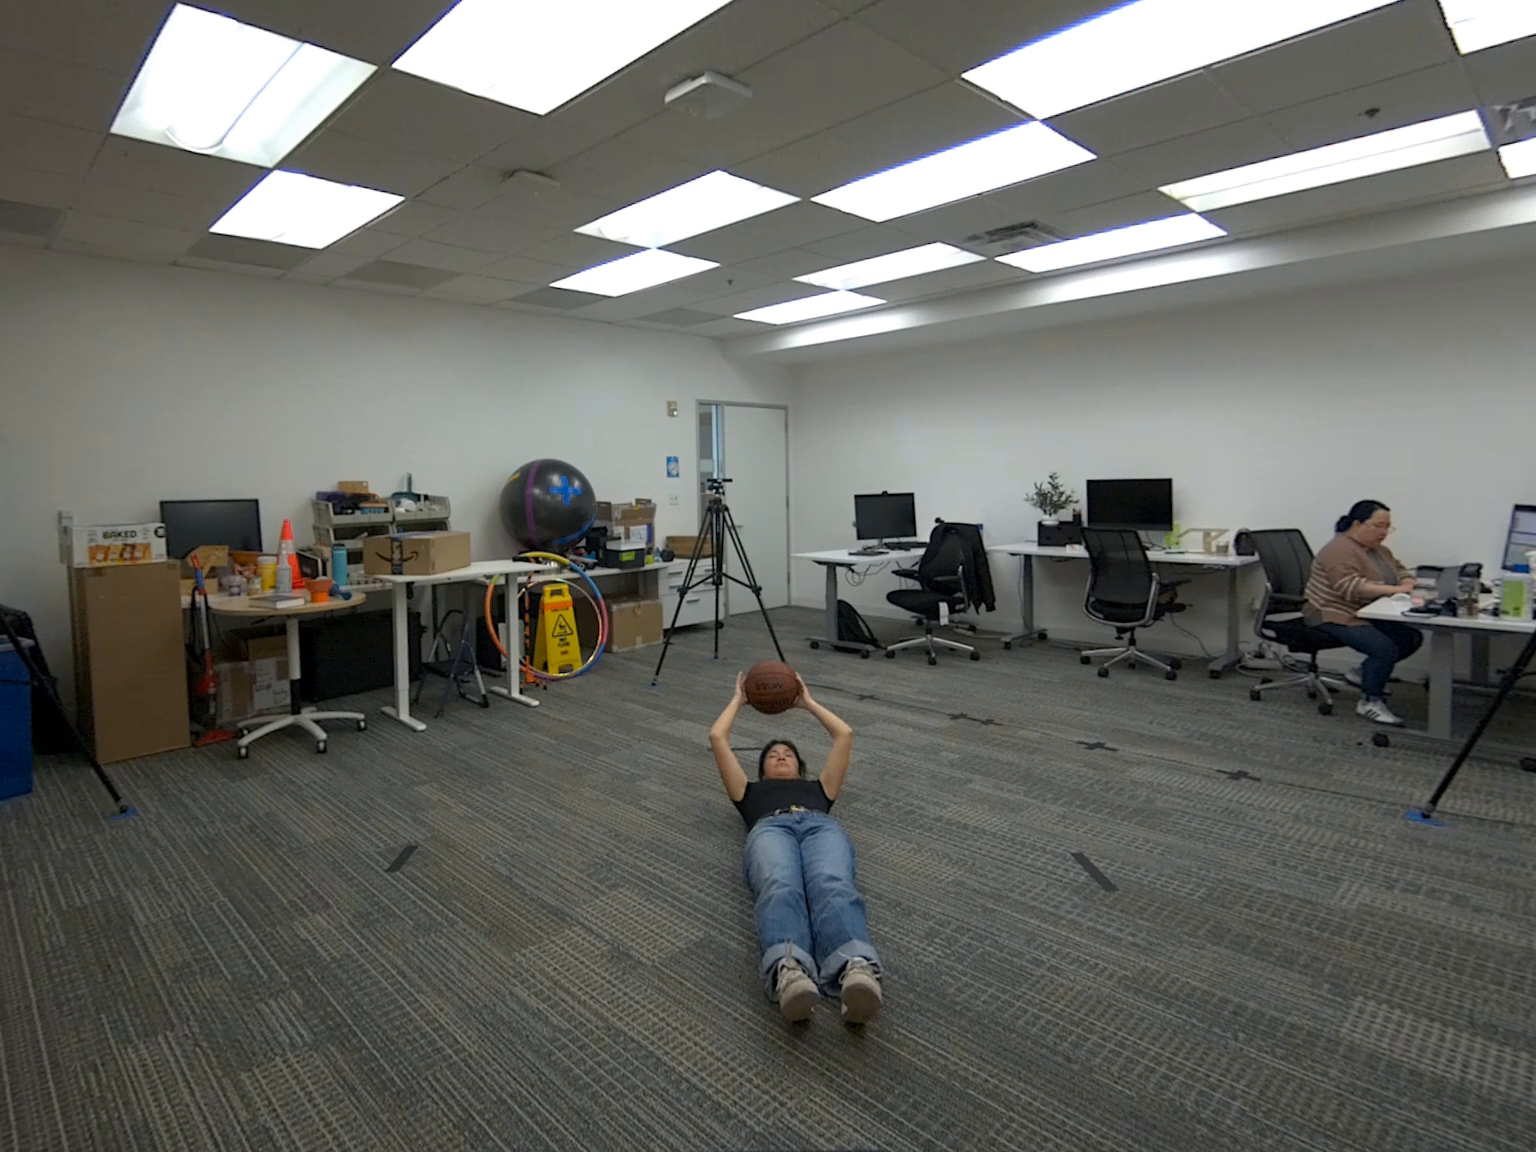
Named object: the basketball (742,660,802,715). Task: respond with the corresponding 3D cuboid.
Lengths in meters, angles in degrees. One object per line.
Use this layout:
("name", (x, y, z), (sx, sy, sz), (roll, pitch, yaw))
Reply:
("basketball", (0.013, 0.493, 3.744), (0.236, 0.235, 0.237), (-1, 5, -2))
